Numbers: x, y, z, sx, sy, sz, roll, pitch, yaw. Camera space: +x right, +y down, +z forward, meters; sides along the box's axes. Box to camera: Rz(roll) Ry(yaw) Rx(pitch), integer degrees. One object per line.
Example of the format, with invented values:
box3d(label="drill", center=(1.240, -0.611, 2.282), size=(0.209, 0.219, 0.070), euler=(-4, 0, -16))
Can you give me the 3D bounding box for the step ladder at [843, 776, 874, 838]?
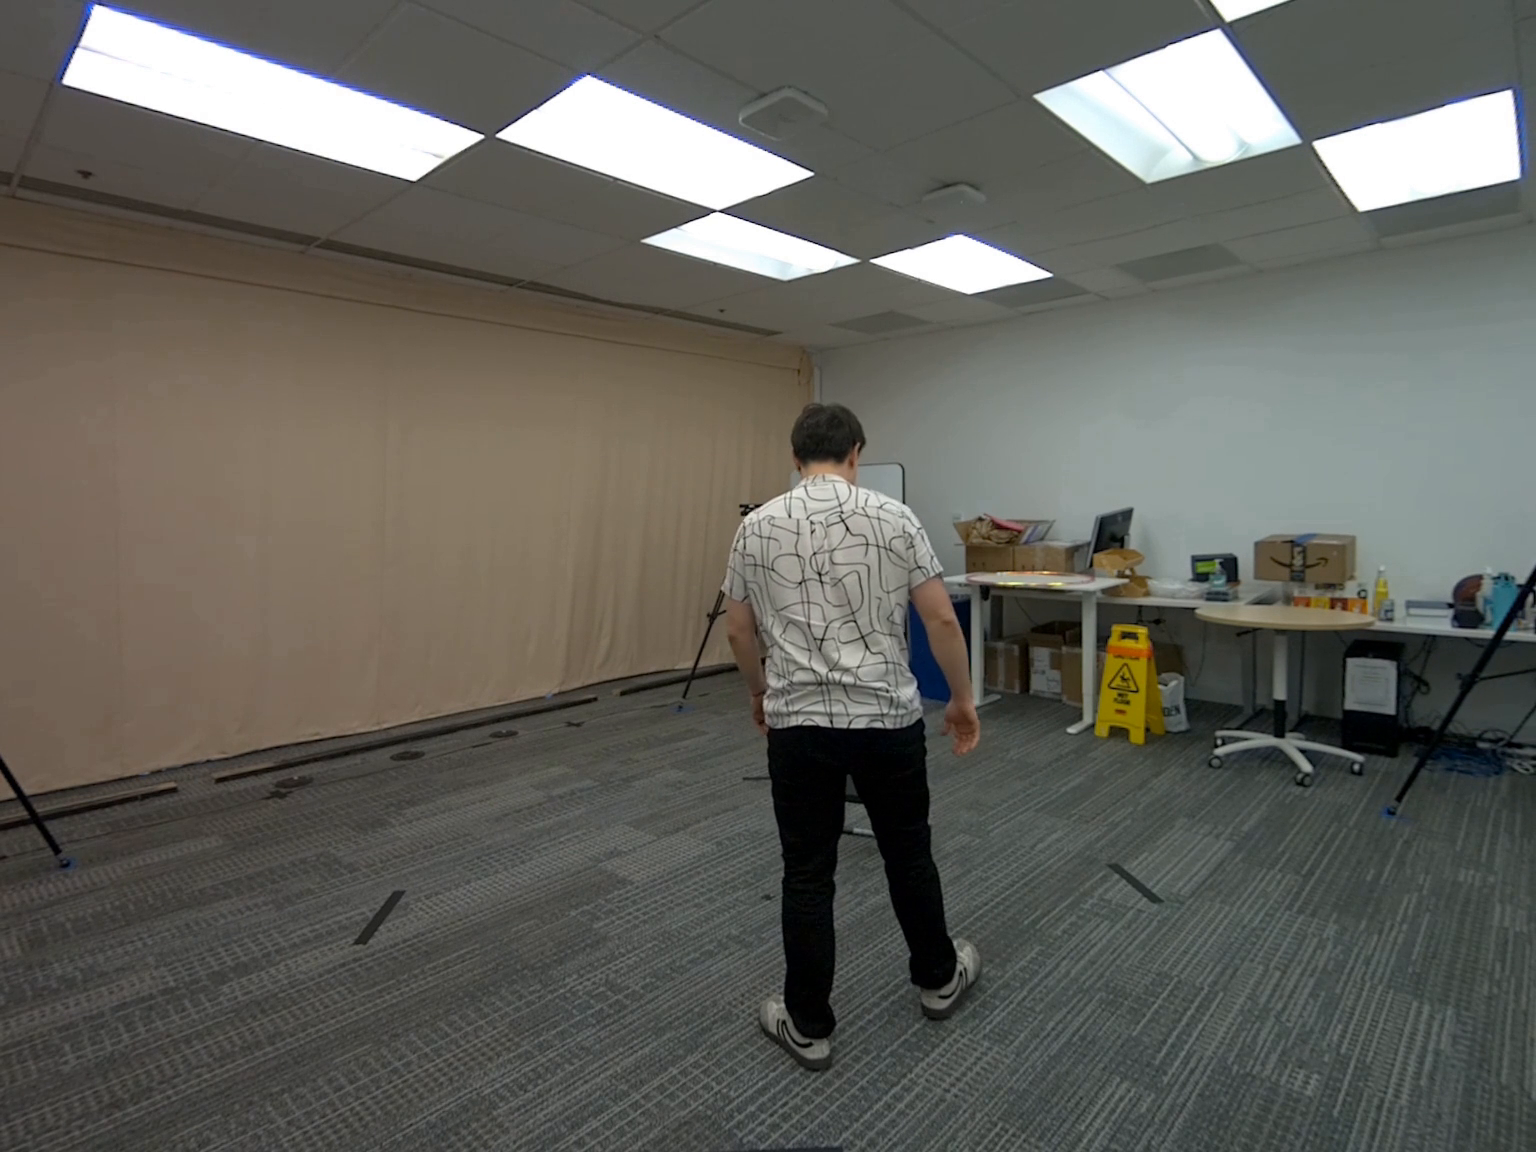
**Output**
box3d(label="step ladder", center=(0.419, 0.796, 3.338), size=(0.440, 0.605, 0.342), euler=(1, 3, 21))
